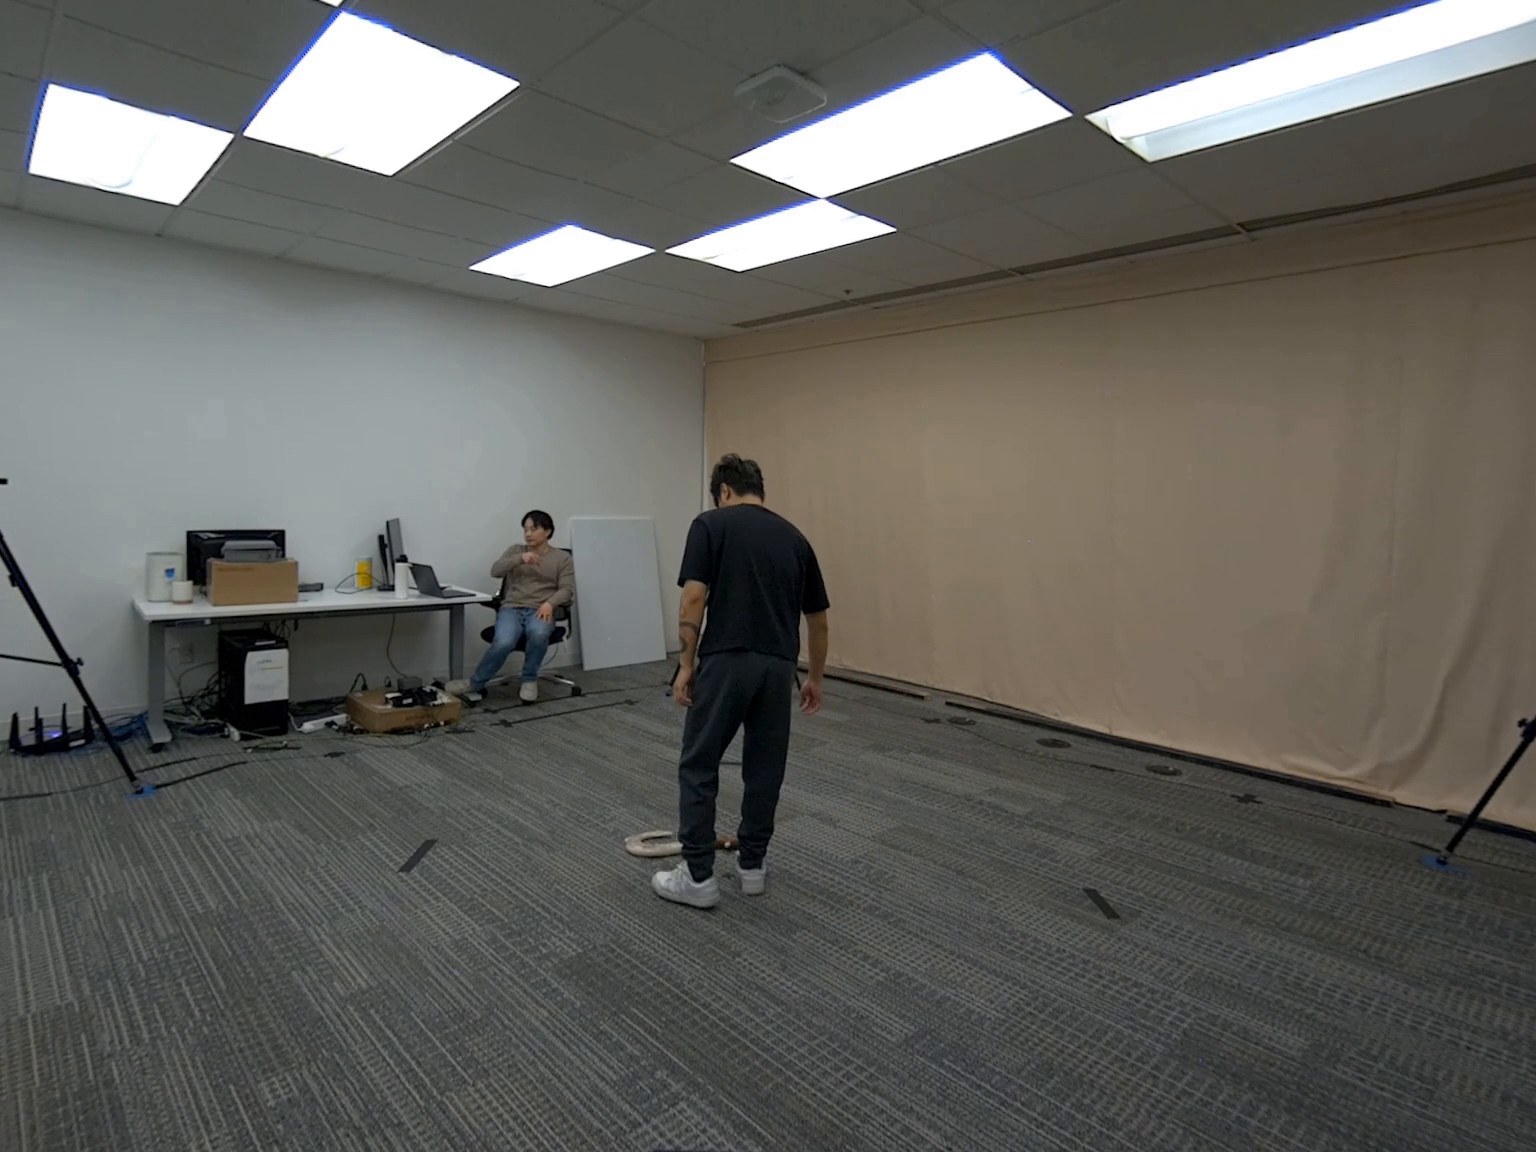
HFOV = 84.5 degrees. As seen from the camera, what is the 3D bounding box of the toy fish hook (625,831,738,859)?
[{"bbox_3d":[-0.320,1.054,3.368,0.502,0.048,0.227,0,7,-10],"label":"toy fish hook"}]
